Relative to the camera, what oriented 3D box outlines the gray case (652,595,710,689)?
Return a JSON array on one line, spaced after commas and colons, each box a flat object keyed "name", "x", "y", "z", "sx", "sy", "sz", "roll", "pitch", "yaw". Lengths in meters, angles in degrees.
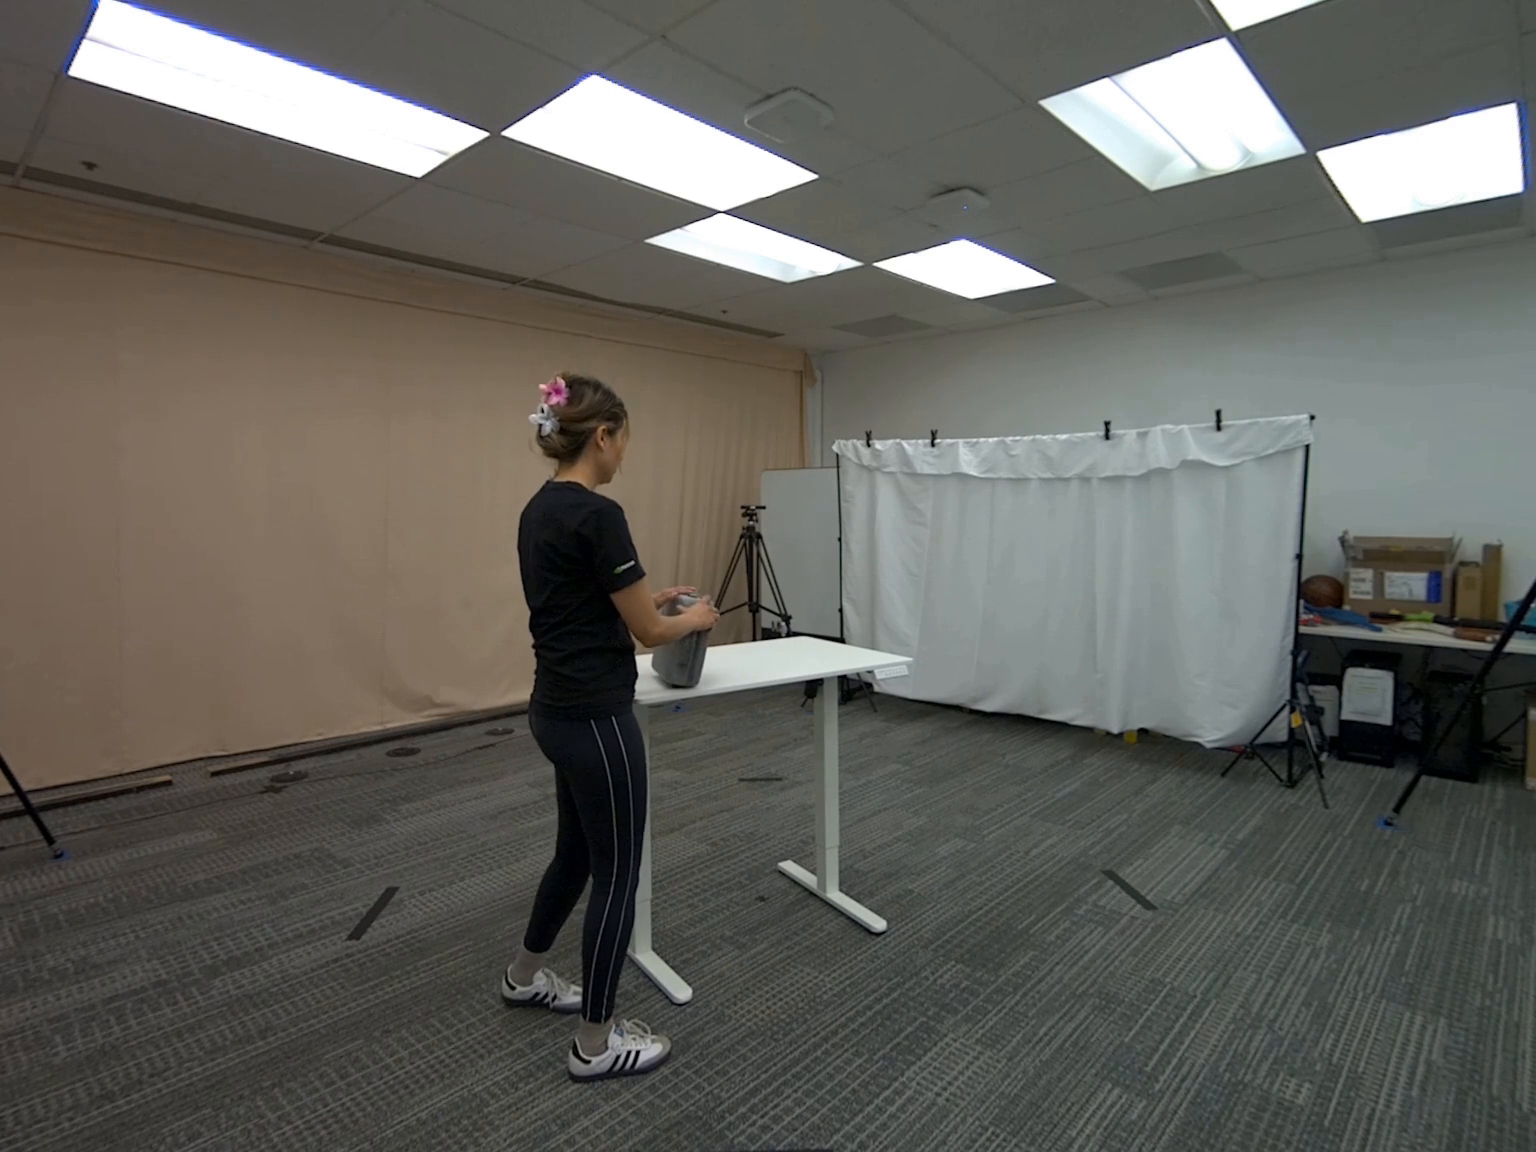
[{"name": "gray case", "x": -0.248, "y": 0.184, "z": 2.452, "sx": 0.102, "sy": 0.257, "sz": 0.265, "roll": 9, "pitch": 0, "yaw": -18}]
